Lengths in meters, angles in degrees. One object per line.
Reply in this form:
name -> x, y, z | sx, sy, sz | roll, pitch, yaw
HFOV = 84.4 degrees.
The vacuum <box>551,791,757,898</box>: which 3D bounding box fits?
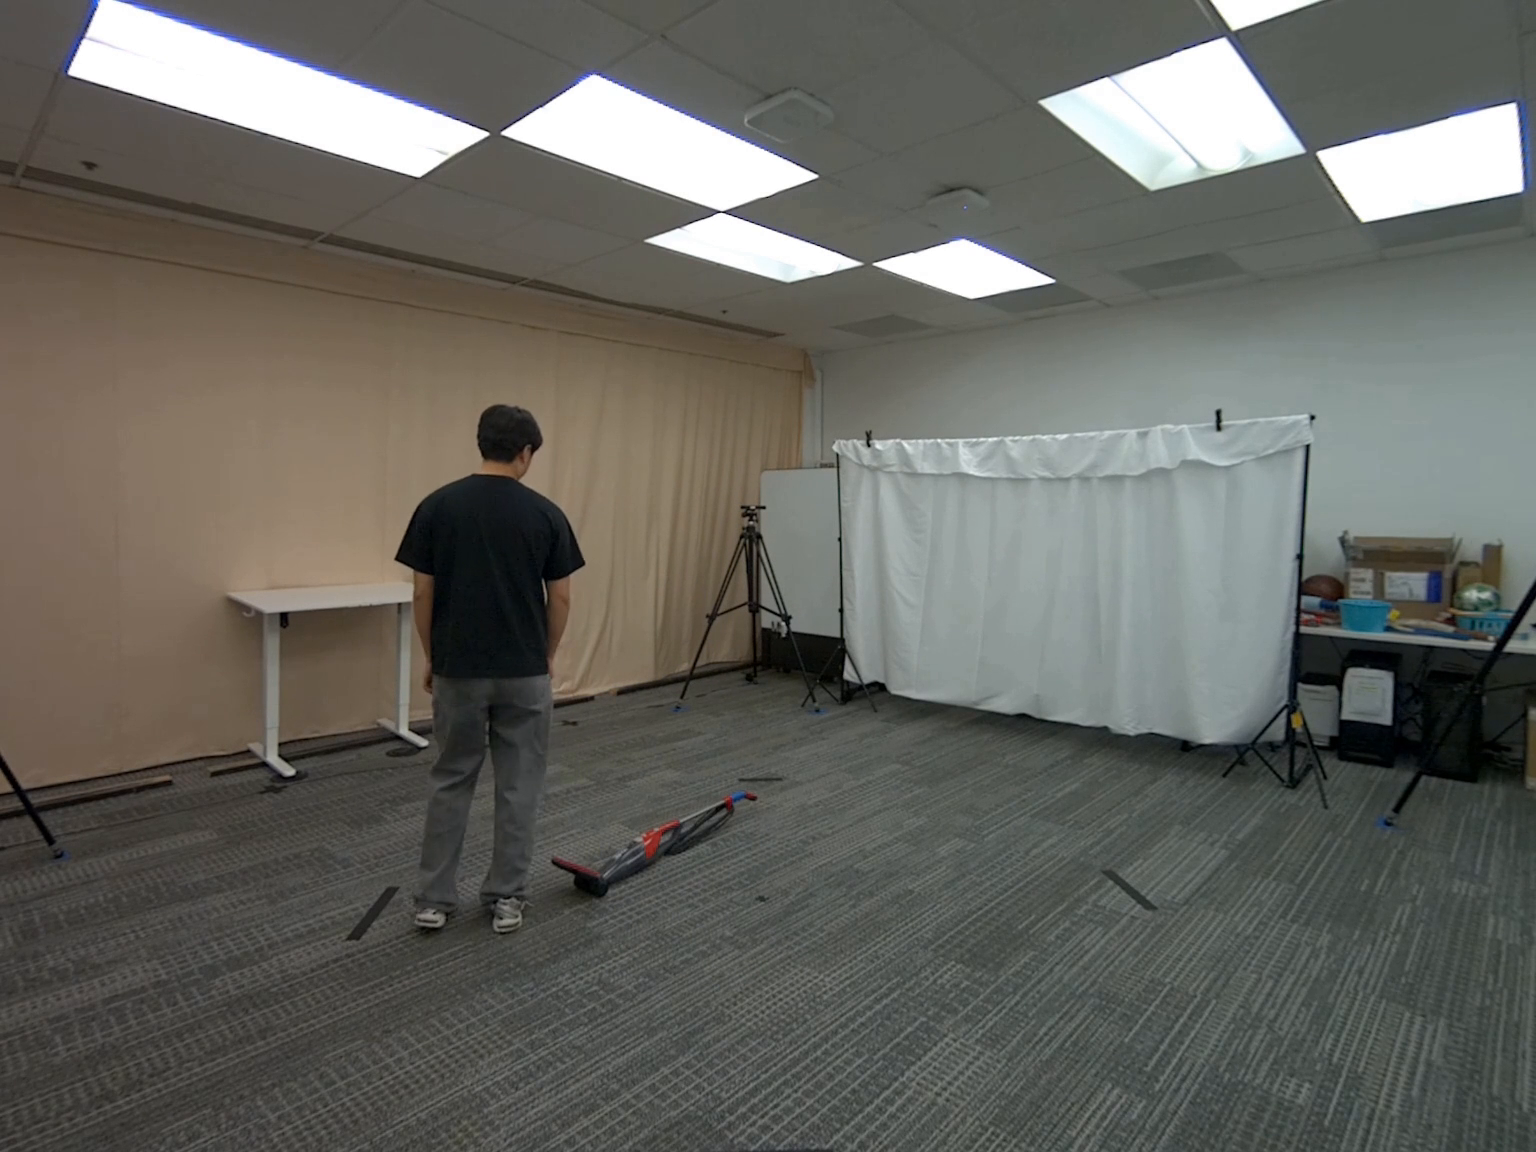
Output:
vacuum -> -0.367, 1.053, 3.420 | 0.261, 0.143, 1.019 | 4, 6, 36
